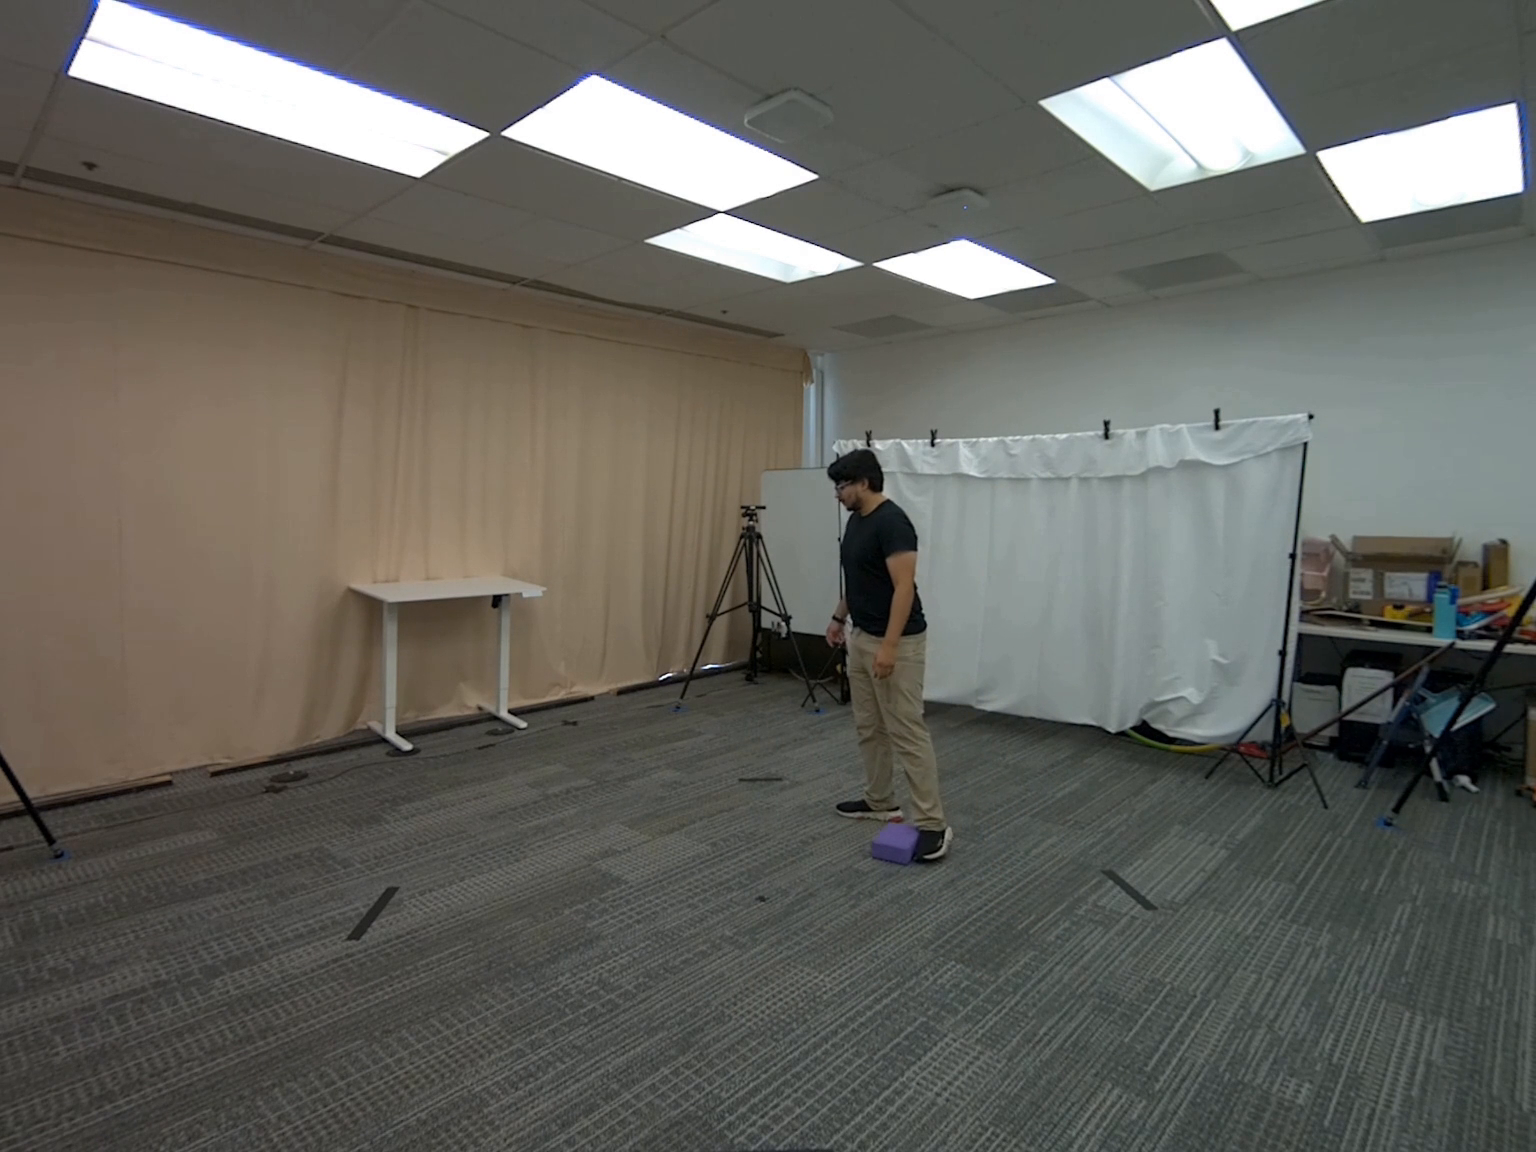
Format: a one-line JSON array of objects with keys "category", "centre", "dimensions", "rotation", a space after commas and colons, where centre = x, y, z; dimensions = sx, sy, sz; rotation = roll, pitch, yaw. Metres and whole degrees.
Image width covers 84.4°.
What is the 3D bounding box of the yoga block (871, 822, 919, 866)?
[{"category": "yoga block", "centre": [0.520, 1.071, 3.384], "dimensions": [0.153, 0.076, 0.224], "rotation": [3, 6, 26]}]
